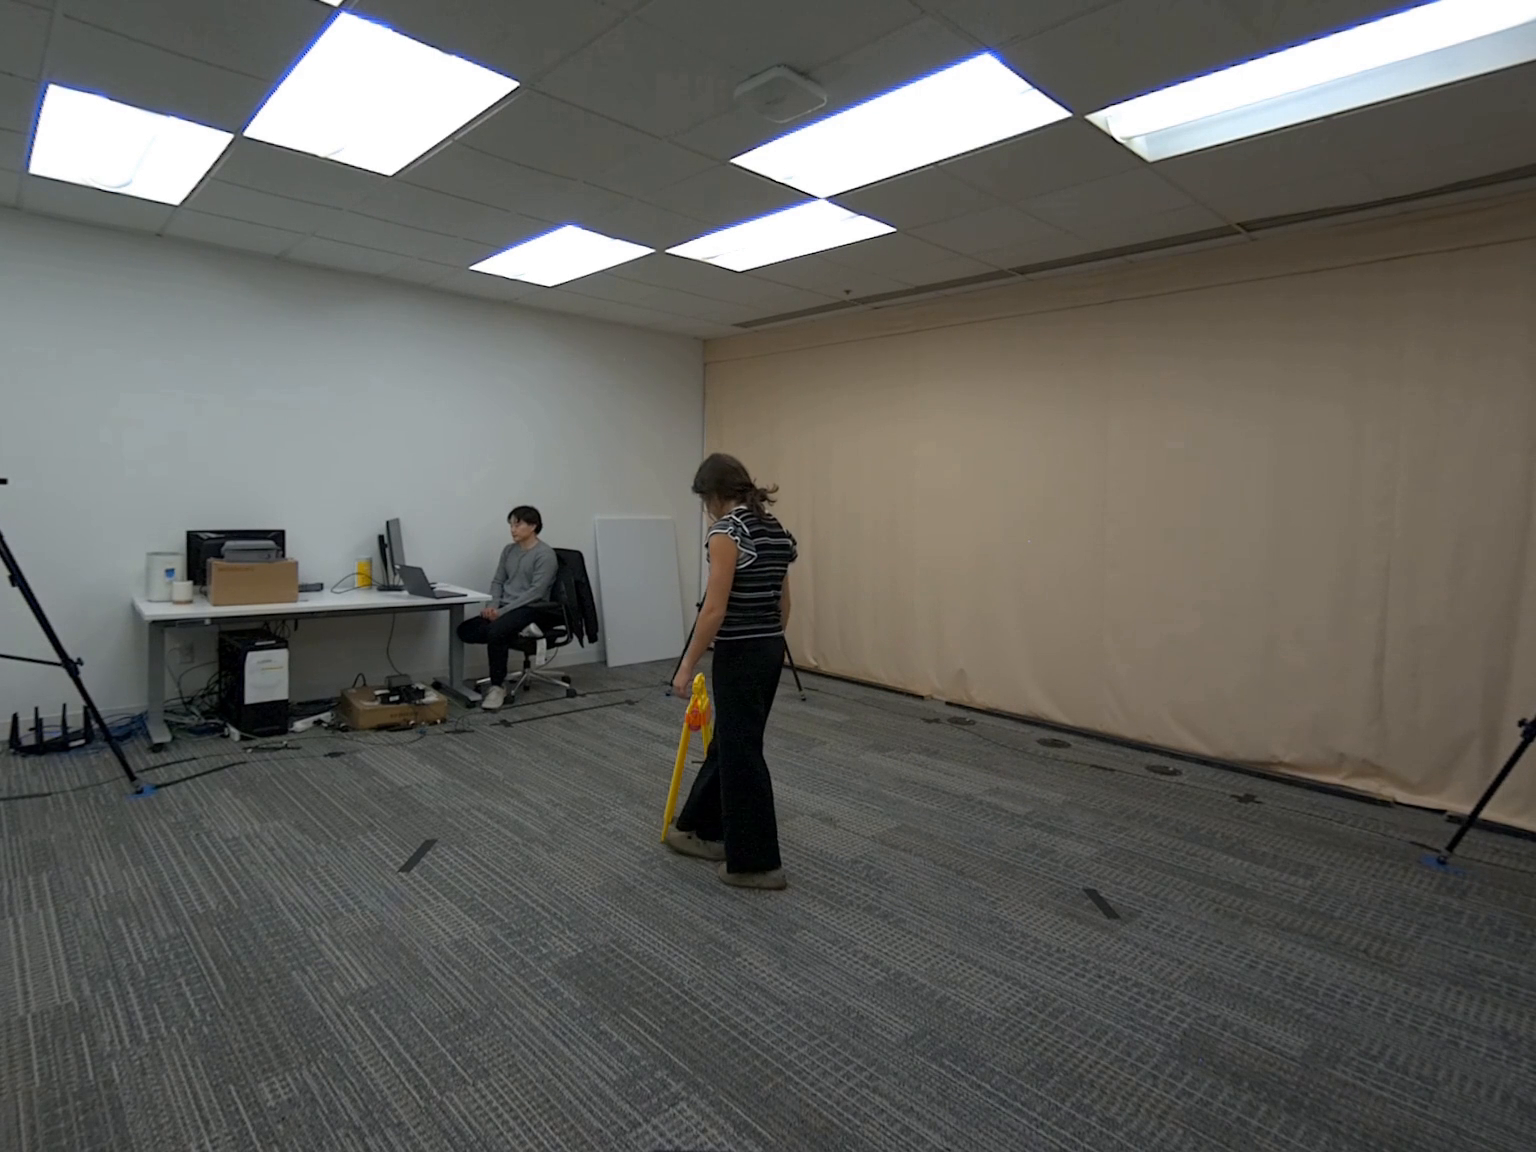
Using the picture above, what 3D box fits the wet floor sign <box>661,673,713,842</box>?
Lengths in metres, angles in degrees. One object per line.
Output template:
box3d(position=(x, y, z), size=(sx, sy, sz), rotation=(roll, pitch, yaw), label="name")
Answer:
box3d(position=(-0.297, 0.743, 3.500), size=(0.290, 0.645, 0.282), rotation=(3, 3, 3), label="wet floor sign")
